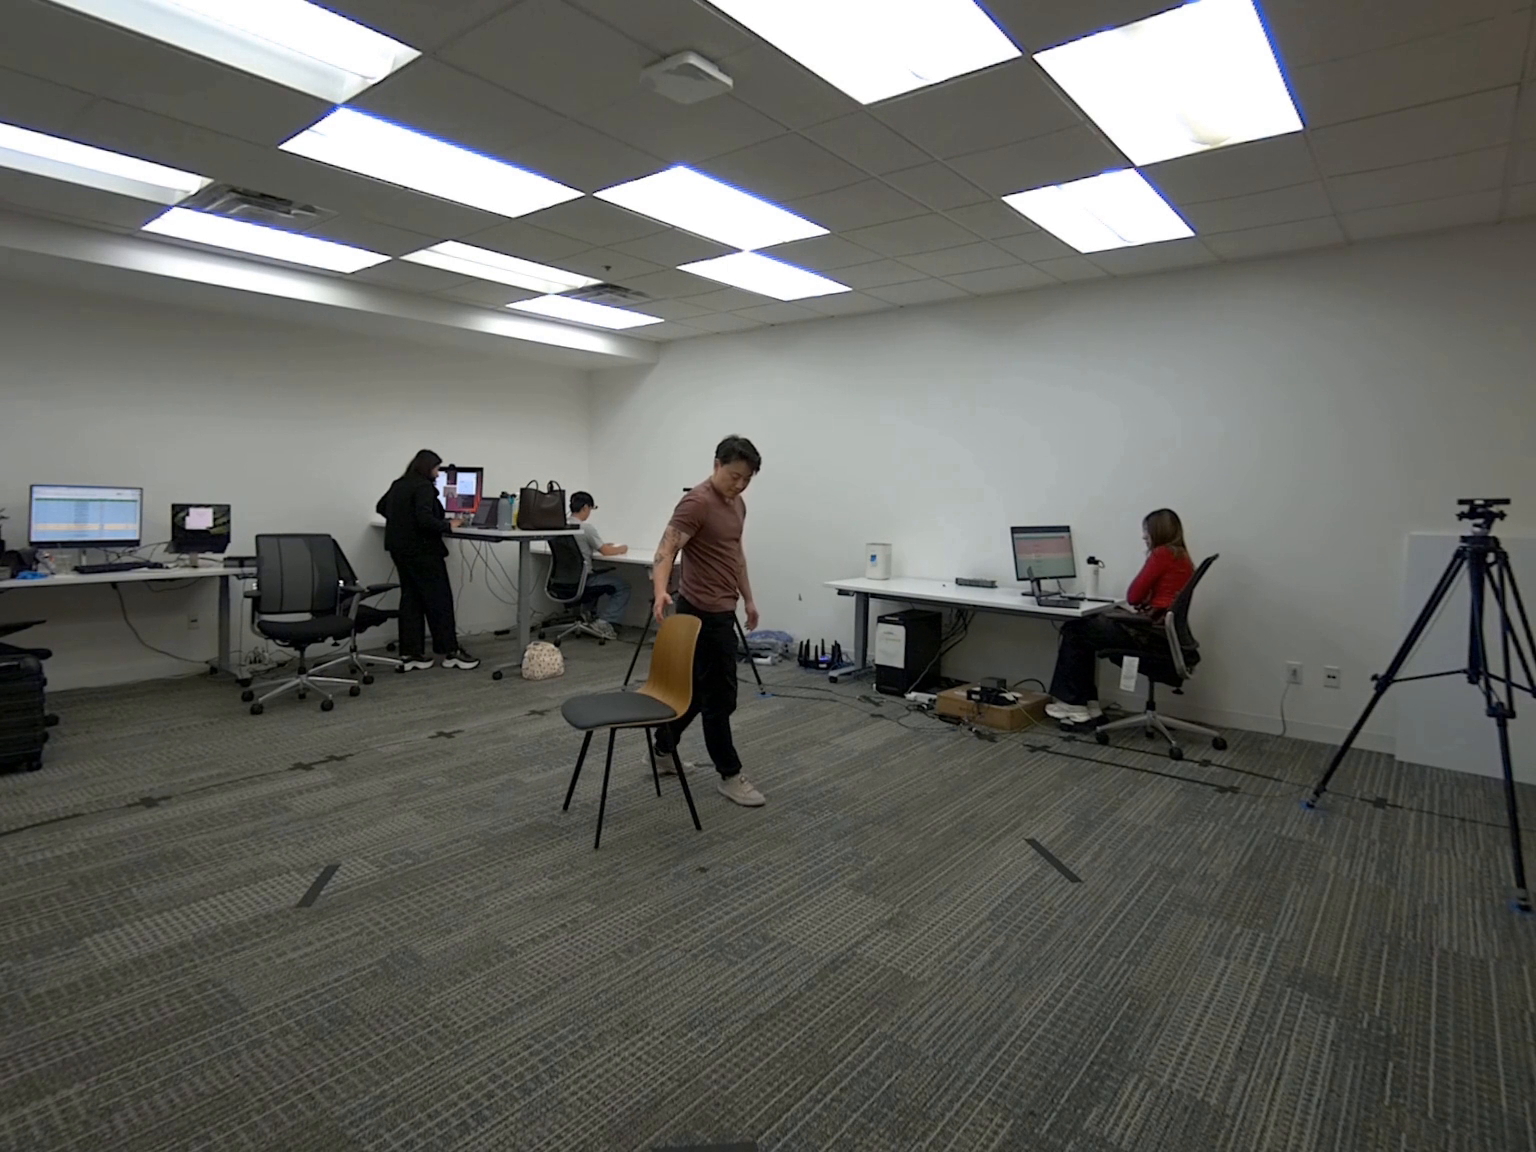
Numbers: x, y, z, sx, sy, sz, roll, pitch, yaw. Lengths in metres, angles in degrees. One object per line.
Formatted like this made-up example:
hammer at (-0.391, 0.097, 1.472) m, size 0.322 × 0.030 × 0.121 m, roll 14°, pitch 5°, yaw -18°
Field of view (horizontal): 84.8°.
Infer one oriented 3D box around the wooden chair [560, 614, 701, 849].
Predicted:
wooden chair at (-0.590, 0.598, 3.528) m, size 0.509 × 0.876 × 0.492 m, roll 4°, pitch 2°, yaw -28°
